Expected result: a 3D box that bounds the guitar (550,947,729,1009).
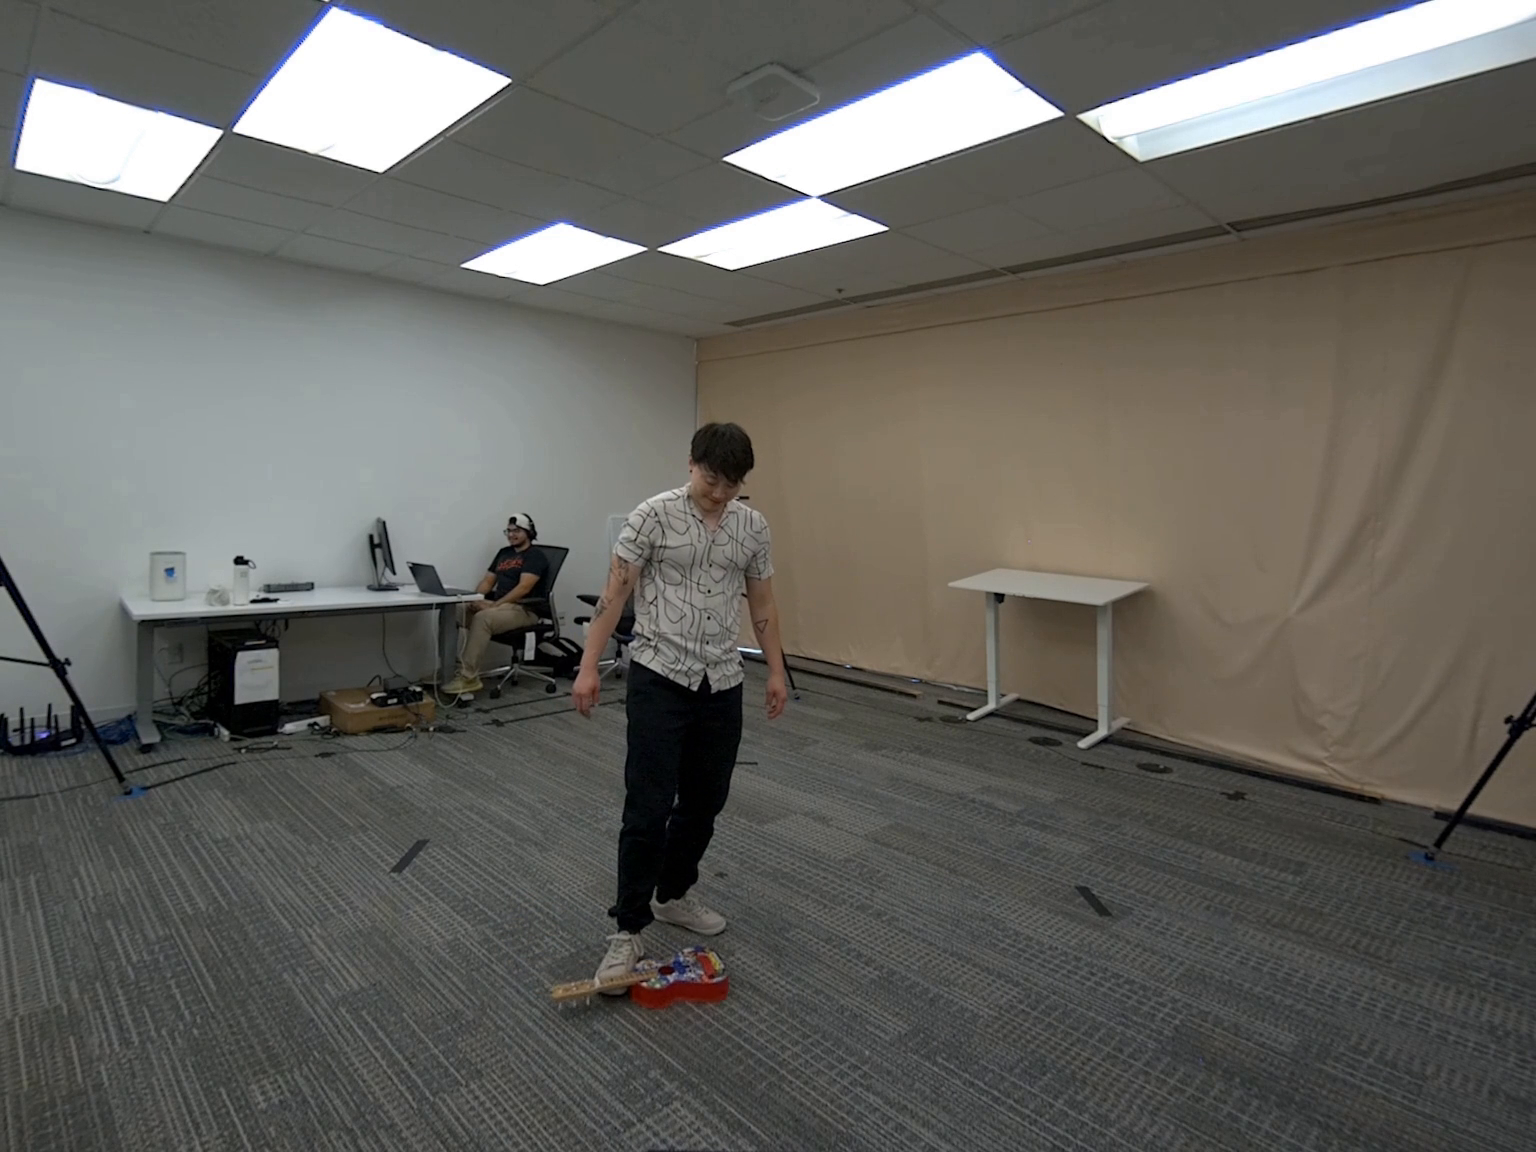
[{"bbox_3d":[-0.370,1.135,2.356,0.492,0.070,0.196,0,6,-14],"label":"guitar"}]
